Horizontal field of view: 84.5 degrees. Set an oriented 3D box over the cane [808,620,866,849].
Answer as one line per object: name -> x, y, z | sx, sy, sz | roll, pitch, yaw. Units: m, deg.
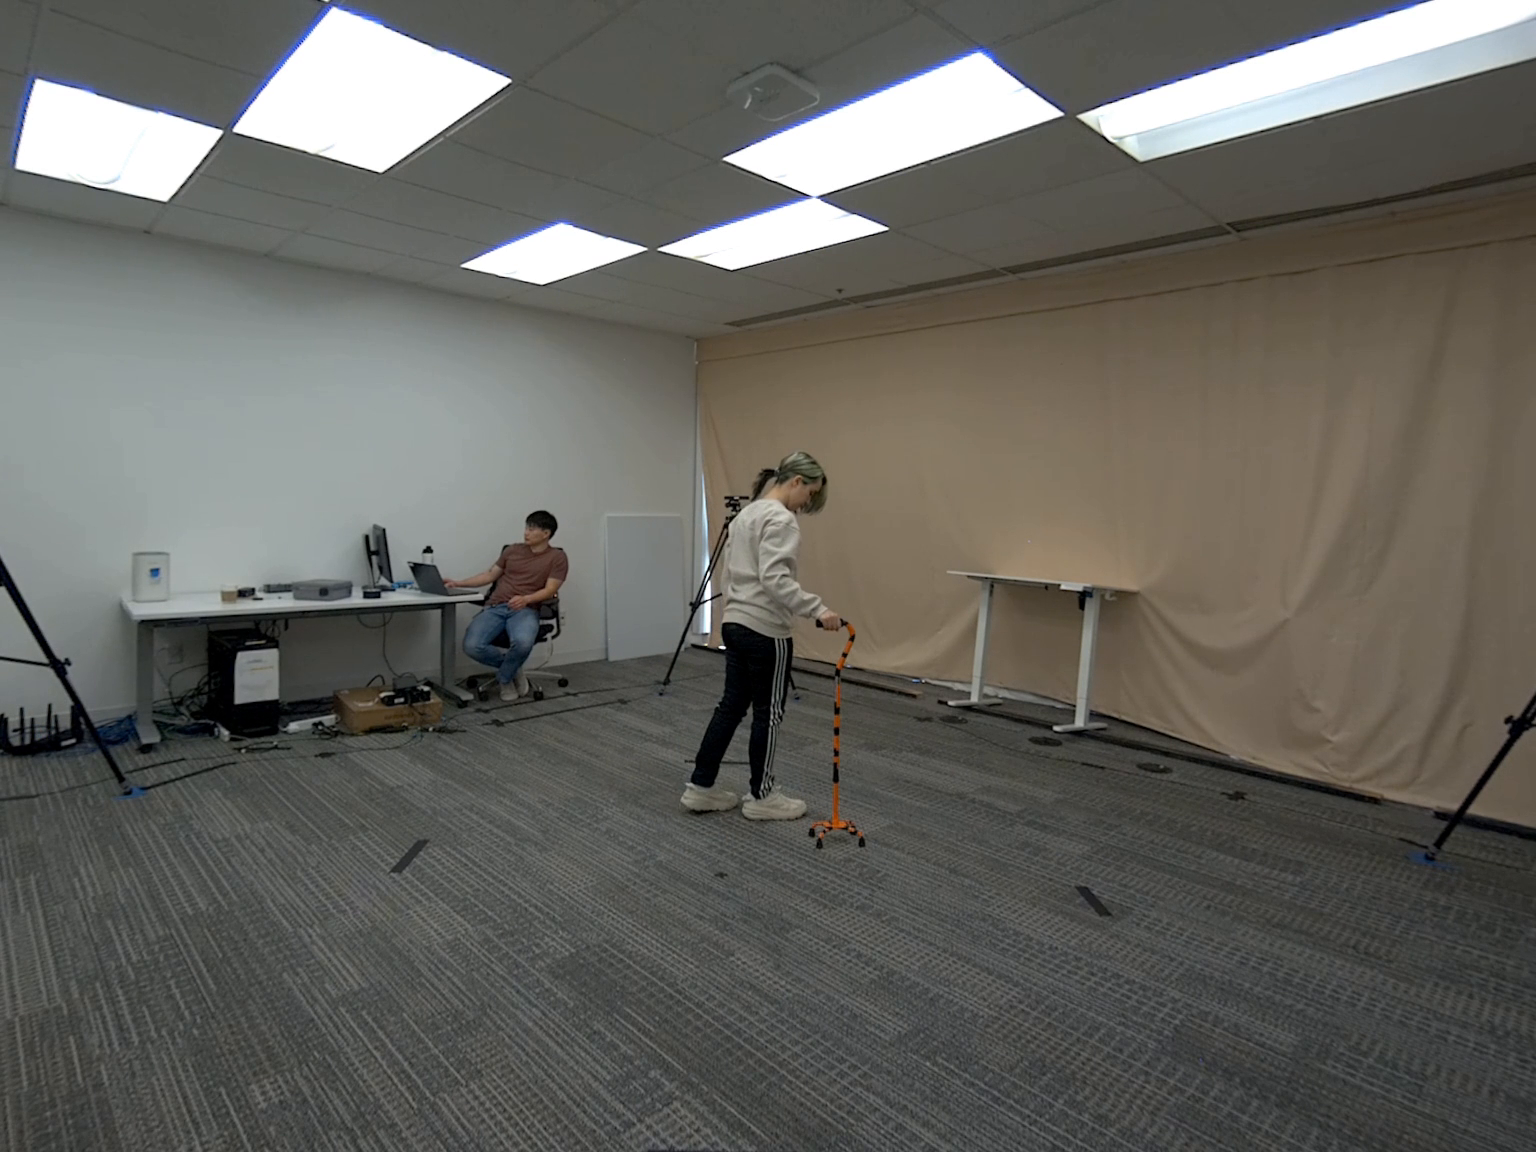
cane -> 0.279, 0.633, 3.419 | 0.204, 0.906, 0.153 | 1, 3, -11
